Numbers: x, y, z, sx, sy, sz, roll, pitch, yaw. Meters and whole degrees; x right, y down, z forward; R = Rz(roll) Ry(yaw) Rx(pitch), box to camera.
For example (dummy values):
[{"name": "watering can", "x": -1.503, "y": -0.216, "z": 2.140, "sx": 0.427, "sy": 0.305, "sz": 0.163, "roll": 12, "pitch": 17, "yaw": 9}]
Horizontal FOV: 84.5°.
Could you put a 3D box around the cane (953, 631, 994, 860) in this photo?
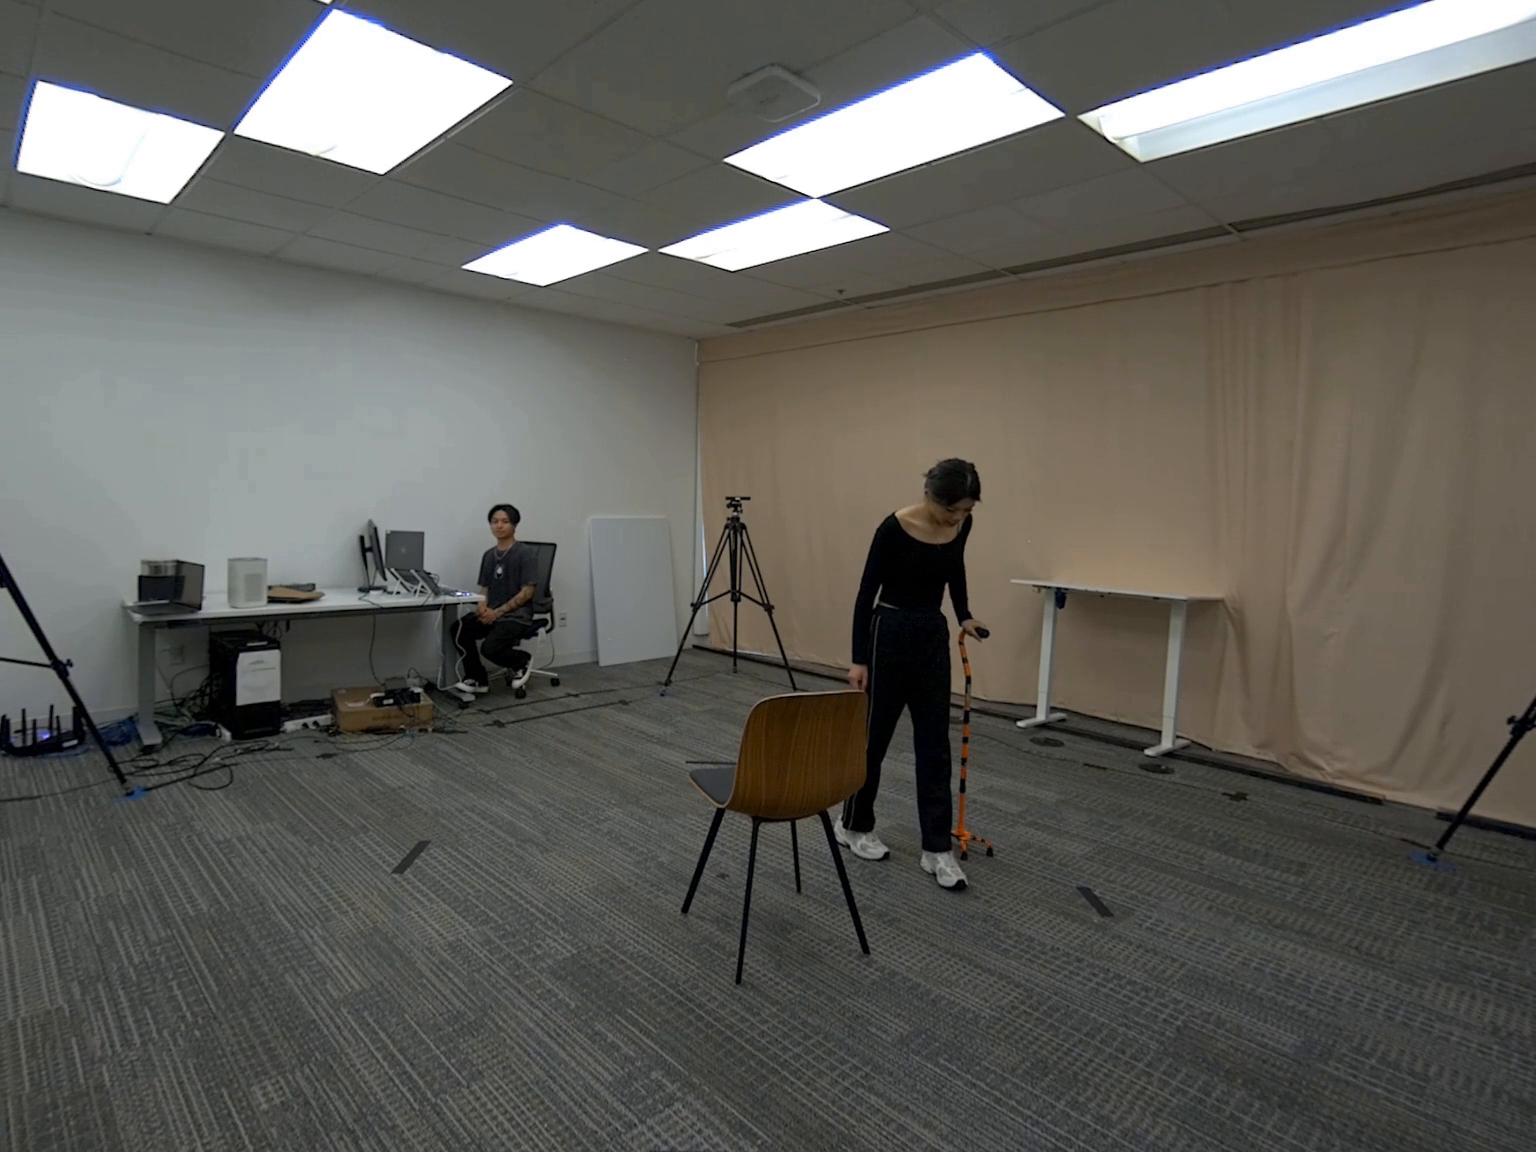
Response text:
[{"name": "cane", "x": 0.794, "y": 0.645, "z": 3.379, "sx": 0.149, "sy": 0.905, "sz": 0.211, "roll": 0, "pitch": 5, "yaw": -25}]
